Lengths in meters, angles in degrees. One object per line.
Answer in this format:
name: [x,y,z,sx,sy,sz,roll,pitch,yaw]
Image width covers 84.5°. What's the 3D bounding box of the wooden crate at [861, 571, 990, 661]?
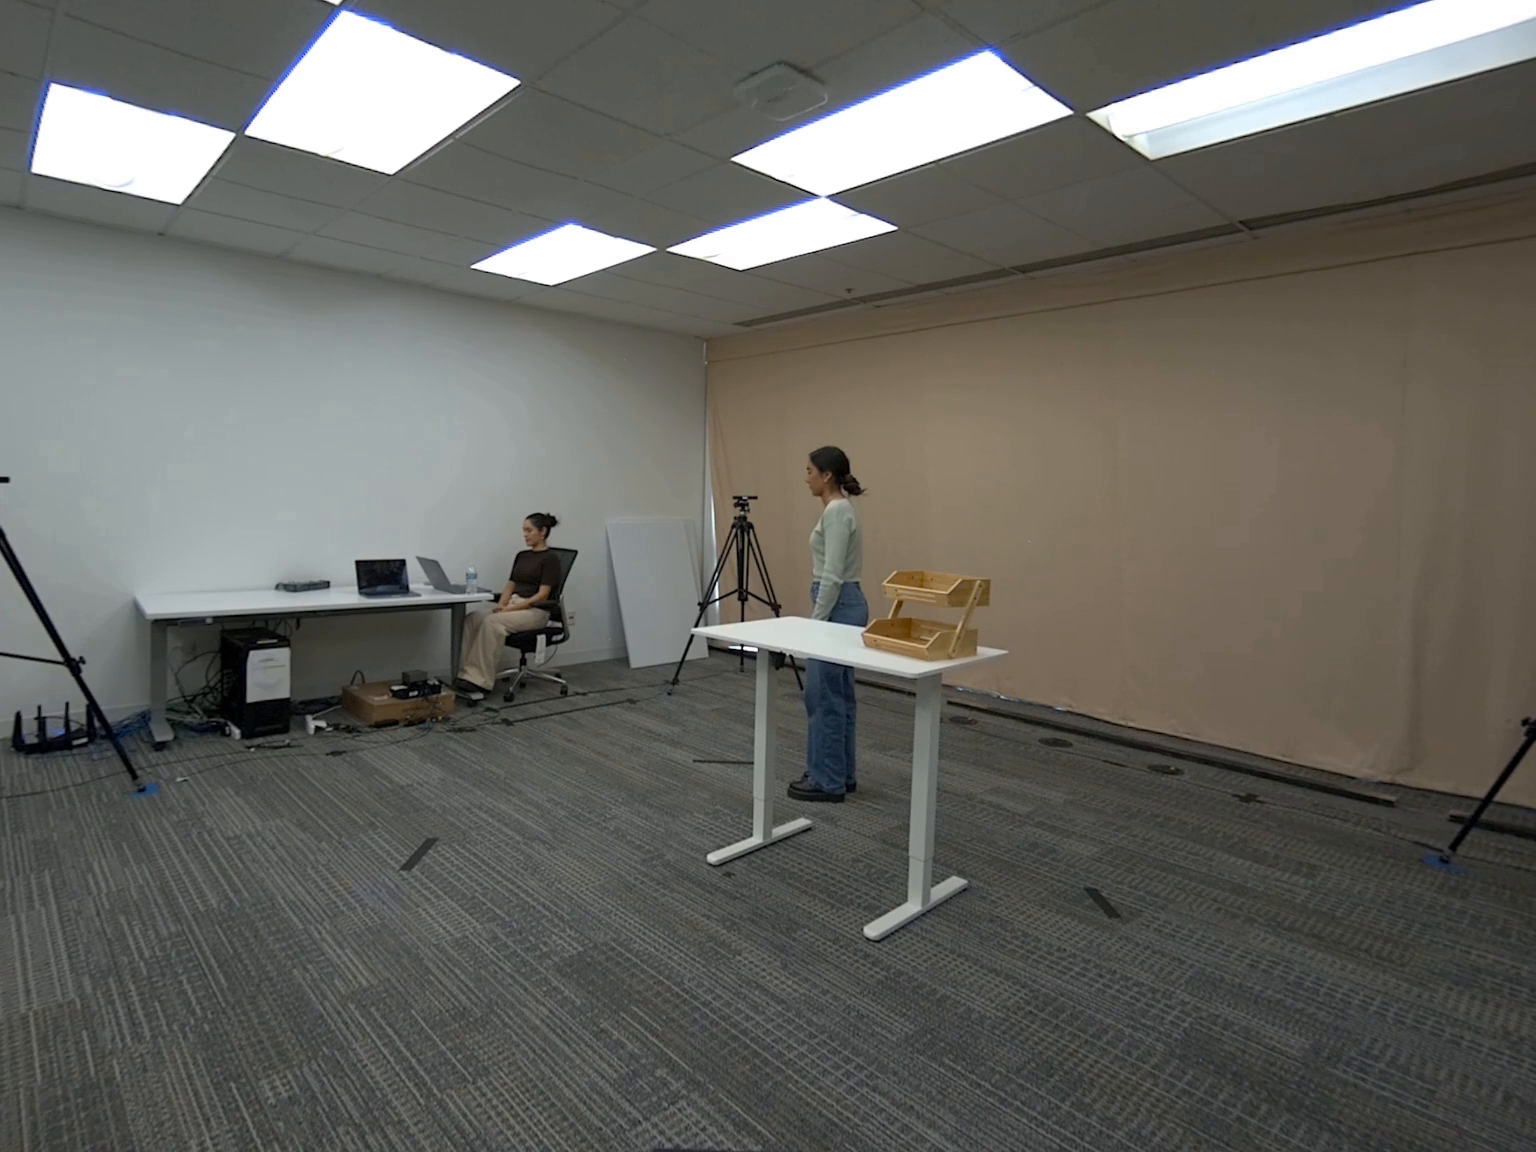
wooden crate: [0.530,0.125,2.896,0.295,0.272,0.332,-1,5,-36]
